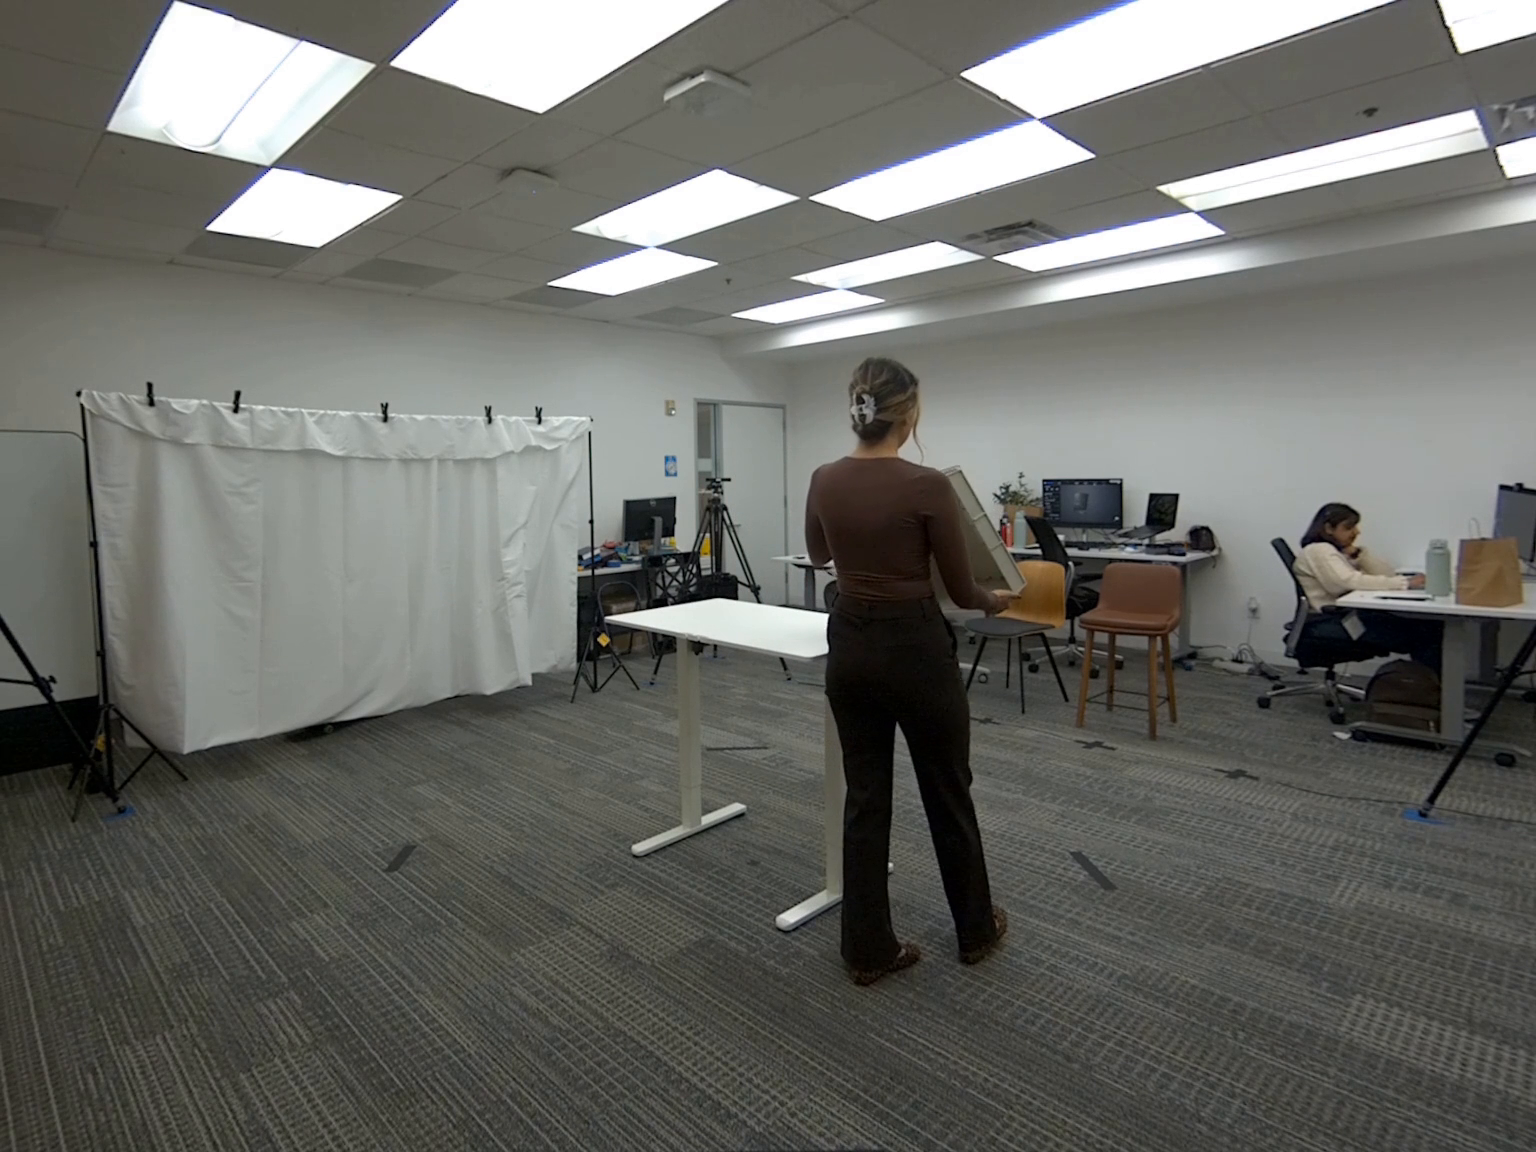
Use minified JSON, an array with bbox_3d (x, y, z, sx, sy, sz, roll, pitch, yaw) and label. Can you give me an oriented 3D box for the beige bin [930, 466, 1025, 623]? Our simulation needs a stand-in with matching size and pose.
[{"bbox_3d":[0.563,-0.108,2.703,0.188,0.419,0.382,-34,7,-18],"label":"beige bin"}]
